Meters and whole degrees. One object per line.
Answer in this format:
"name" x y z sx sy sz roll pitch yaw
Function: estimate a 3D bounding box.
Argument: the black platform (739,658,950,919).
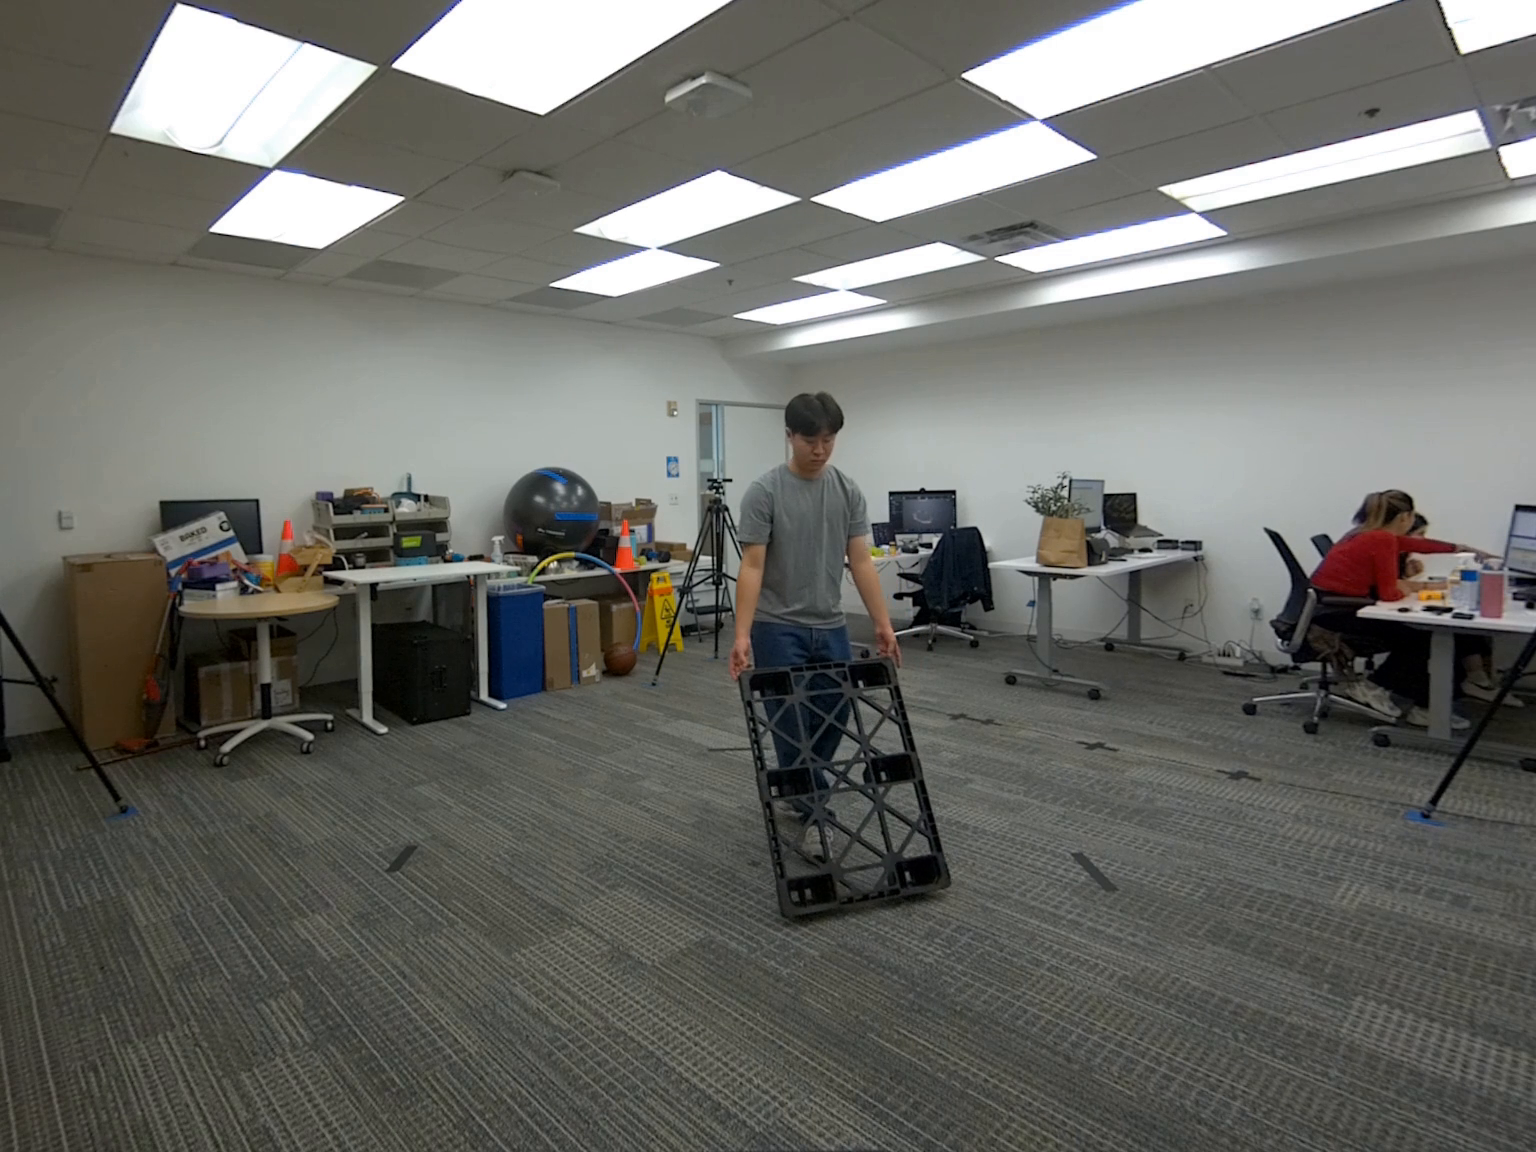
"black platform" 0.238 0.711 2.957 0.596 0.825 0.142 -3 -26 -16
